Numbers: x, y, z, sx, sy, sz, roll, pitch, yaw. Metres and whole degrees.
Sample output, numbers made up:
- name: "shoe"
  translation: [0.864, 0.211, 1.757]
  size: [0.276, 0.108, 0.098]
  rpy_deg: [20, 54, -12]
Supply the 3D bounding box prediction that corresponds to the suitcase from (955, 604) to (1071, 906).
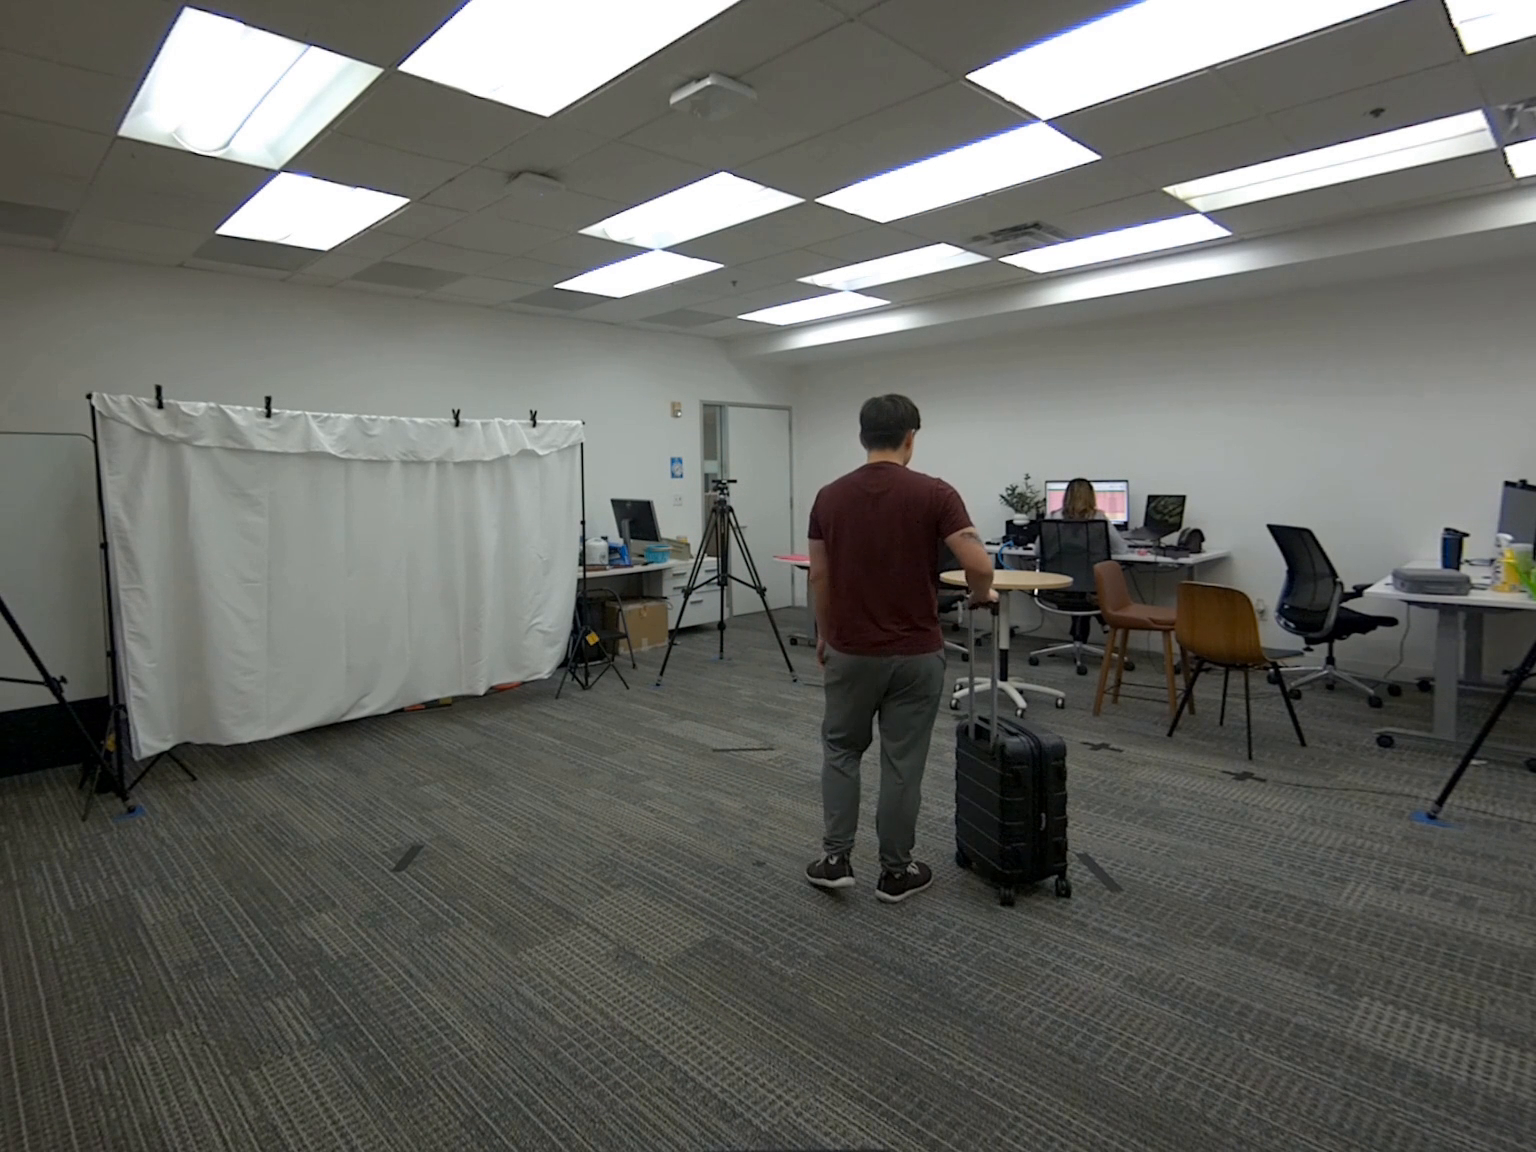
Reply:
- name: "suitcase"
  translation: [0.838, 0.571, 2.952]
  size: [0.254, 0.977, 0.389]
  rpy_deg: [0, 2, -12]
